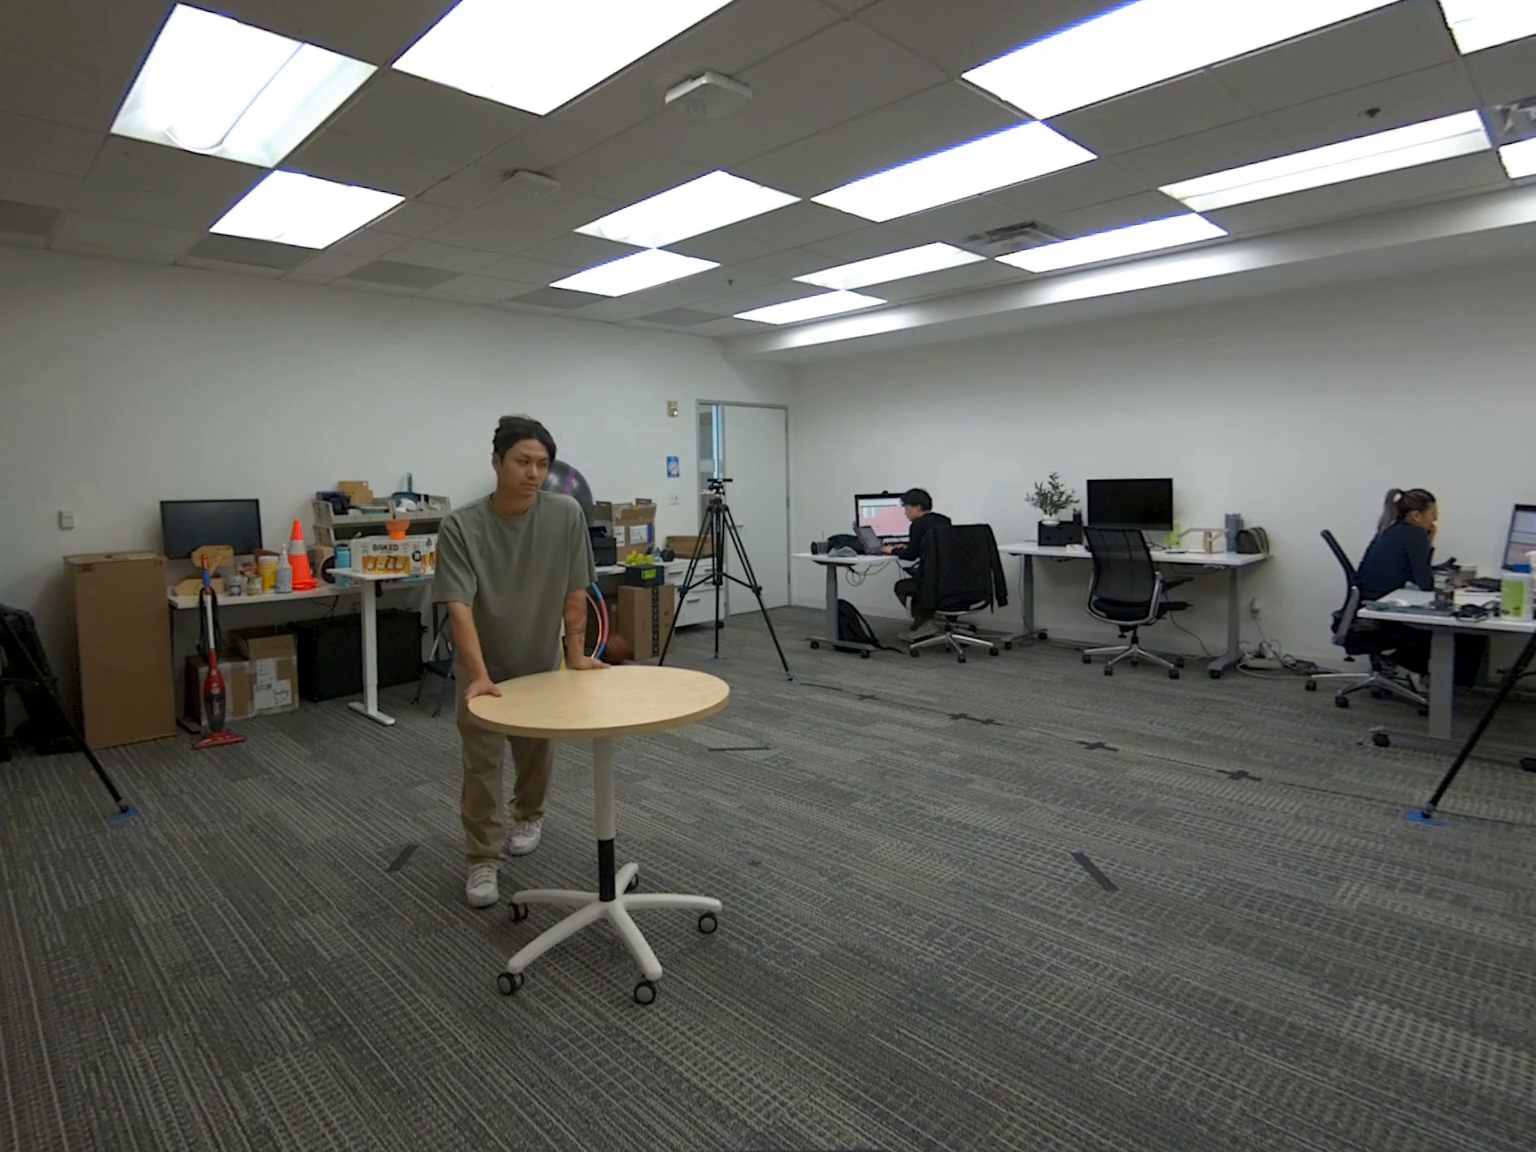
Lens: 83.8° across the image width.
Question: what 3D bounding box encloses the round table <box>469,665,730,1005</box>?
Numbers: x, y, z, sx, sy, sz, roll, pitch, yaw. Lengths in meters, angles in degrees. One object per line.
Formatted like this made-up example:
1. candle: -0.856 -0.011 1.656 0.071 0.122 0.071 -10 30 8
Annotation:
1. round table: -0.480 0.730 2.558 0.784 0.784 0.789 -2 4 -2
